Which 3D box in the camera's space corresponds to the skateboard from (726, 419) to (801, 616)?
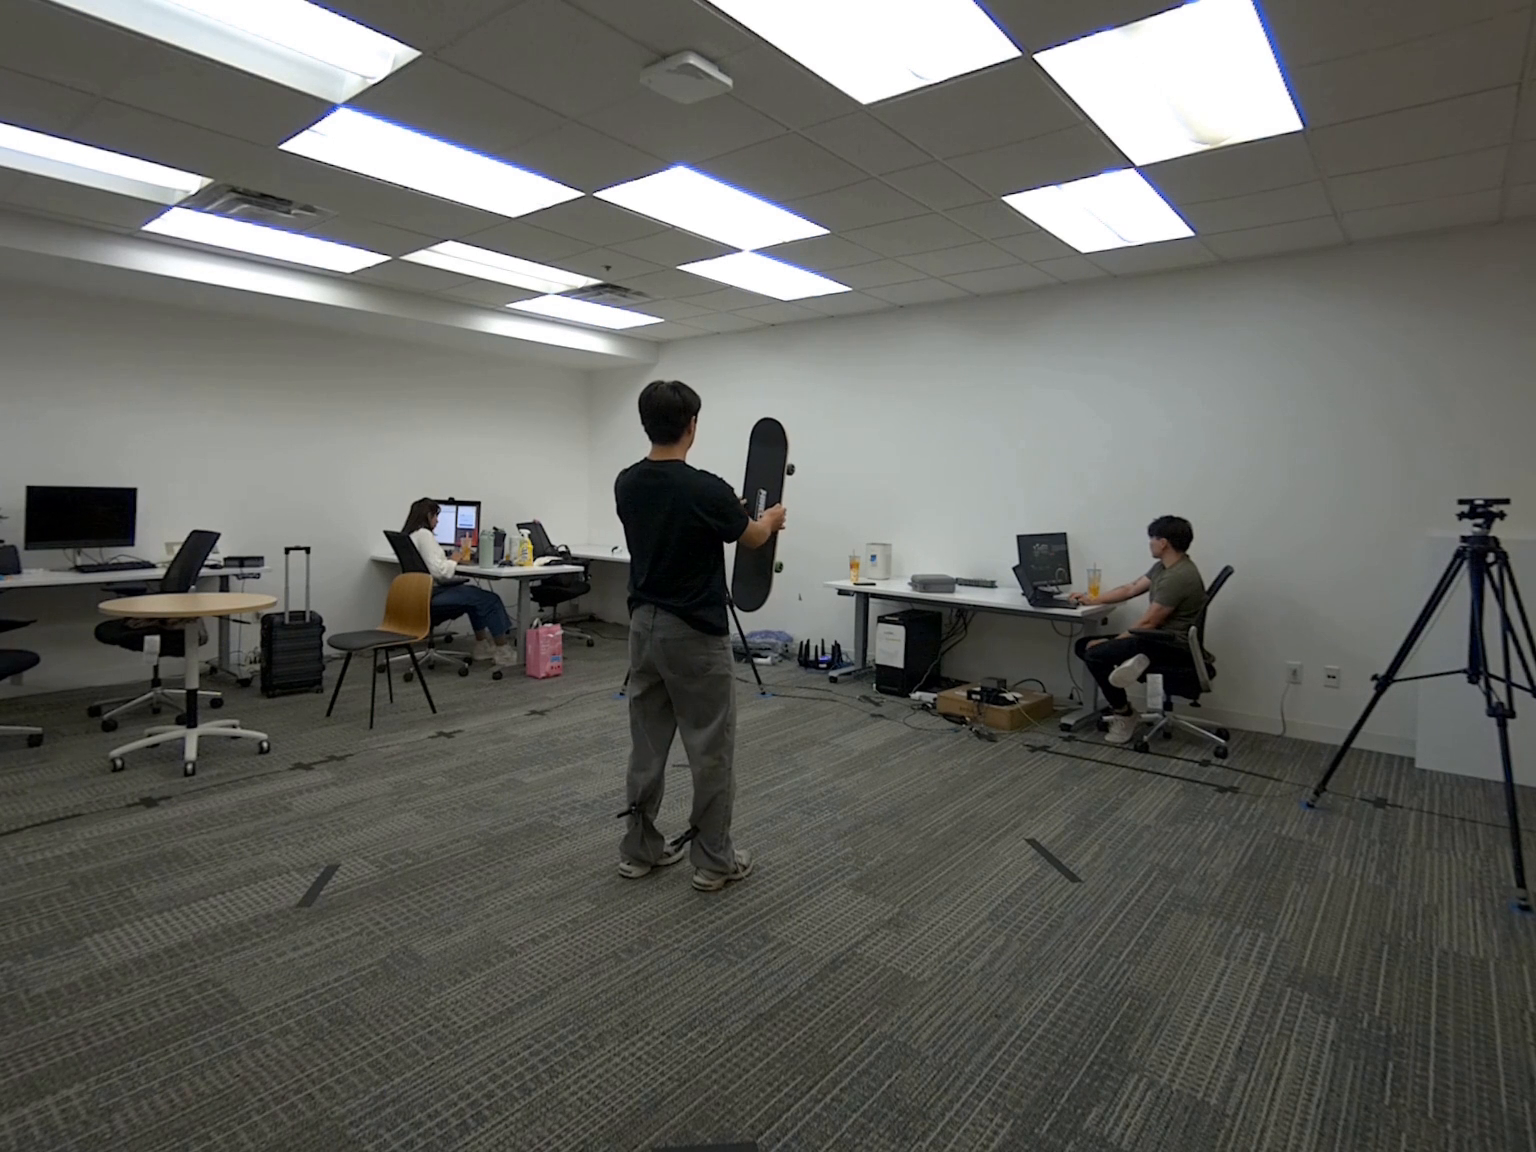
[{"bbox_3d":[-0.028,-0.245,3.455,0.200,0.785,0.106,7,0,36],"label":"skateboard"}]
